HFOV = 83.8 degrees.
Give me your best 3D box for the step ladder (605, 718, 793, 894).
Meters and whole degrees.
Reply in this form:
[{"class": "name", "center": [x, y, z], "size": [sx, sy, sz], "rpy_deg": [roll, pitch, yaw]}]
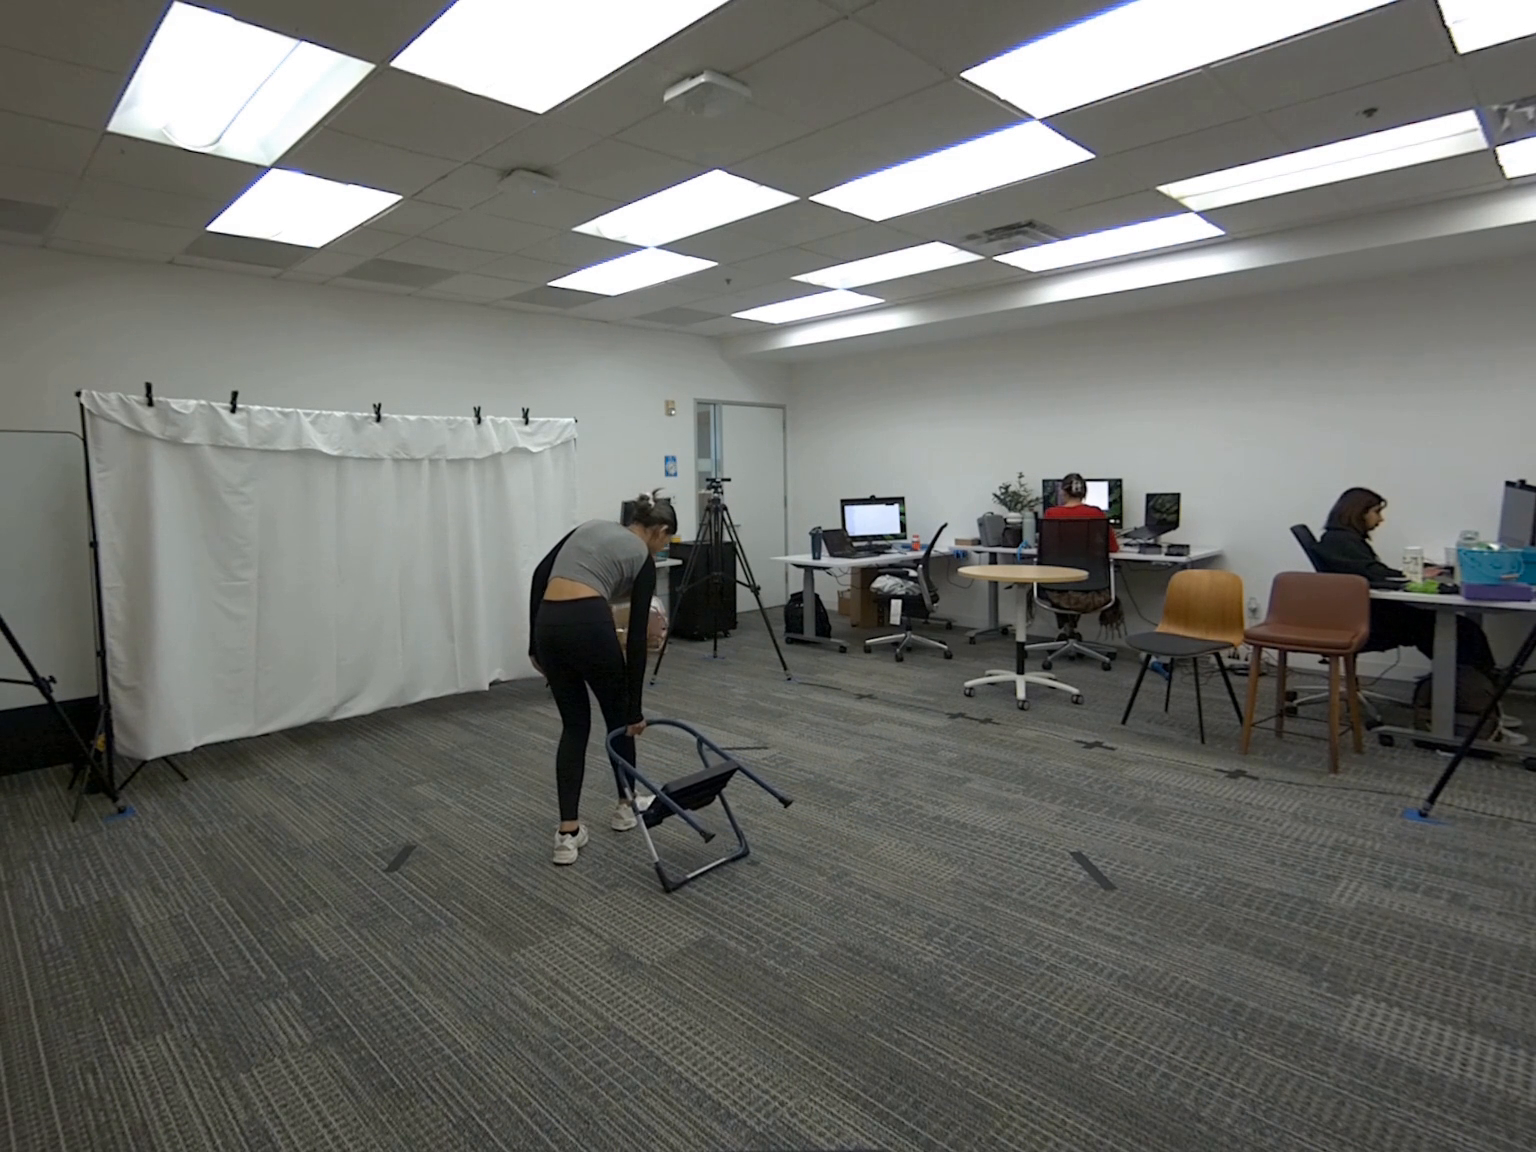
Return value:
[{"class": "step ladder", "center": [-0.298, 0.731, 3.095], "size": [0.419, 0.347, 0.627], "rpy_deg": [-5, 46, -47]}]
